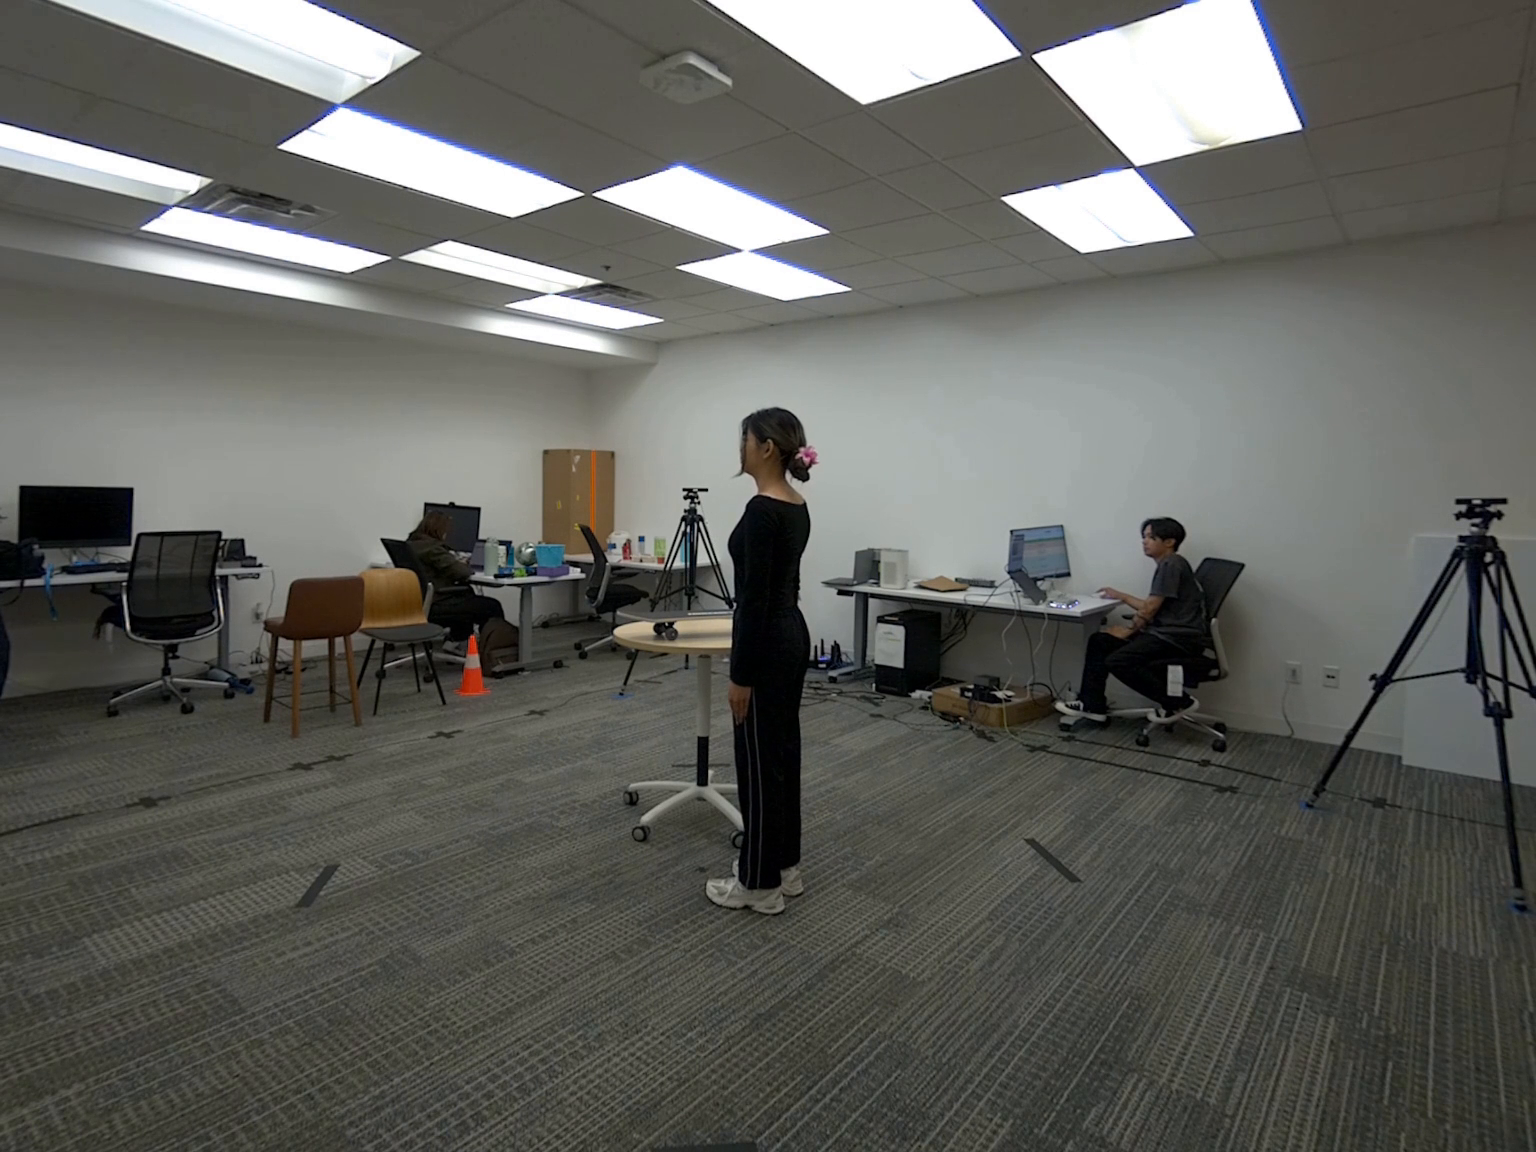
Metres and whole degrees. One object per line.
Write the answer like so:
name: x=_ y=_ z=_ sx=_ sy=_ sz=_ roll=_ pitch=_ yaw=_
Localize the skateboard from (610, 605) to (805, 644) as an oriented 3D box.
skateboard: x=-0.246 y=0.189 z=3.486 sx=0.768 sy=0.110 sz=0.198 roll=-1 pitch=5 yaw=-23
